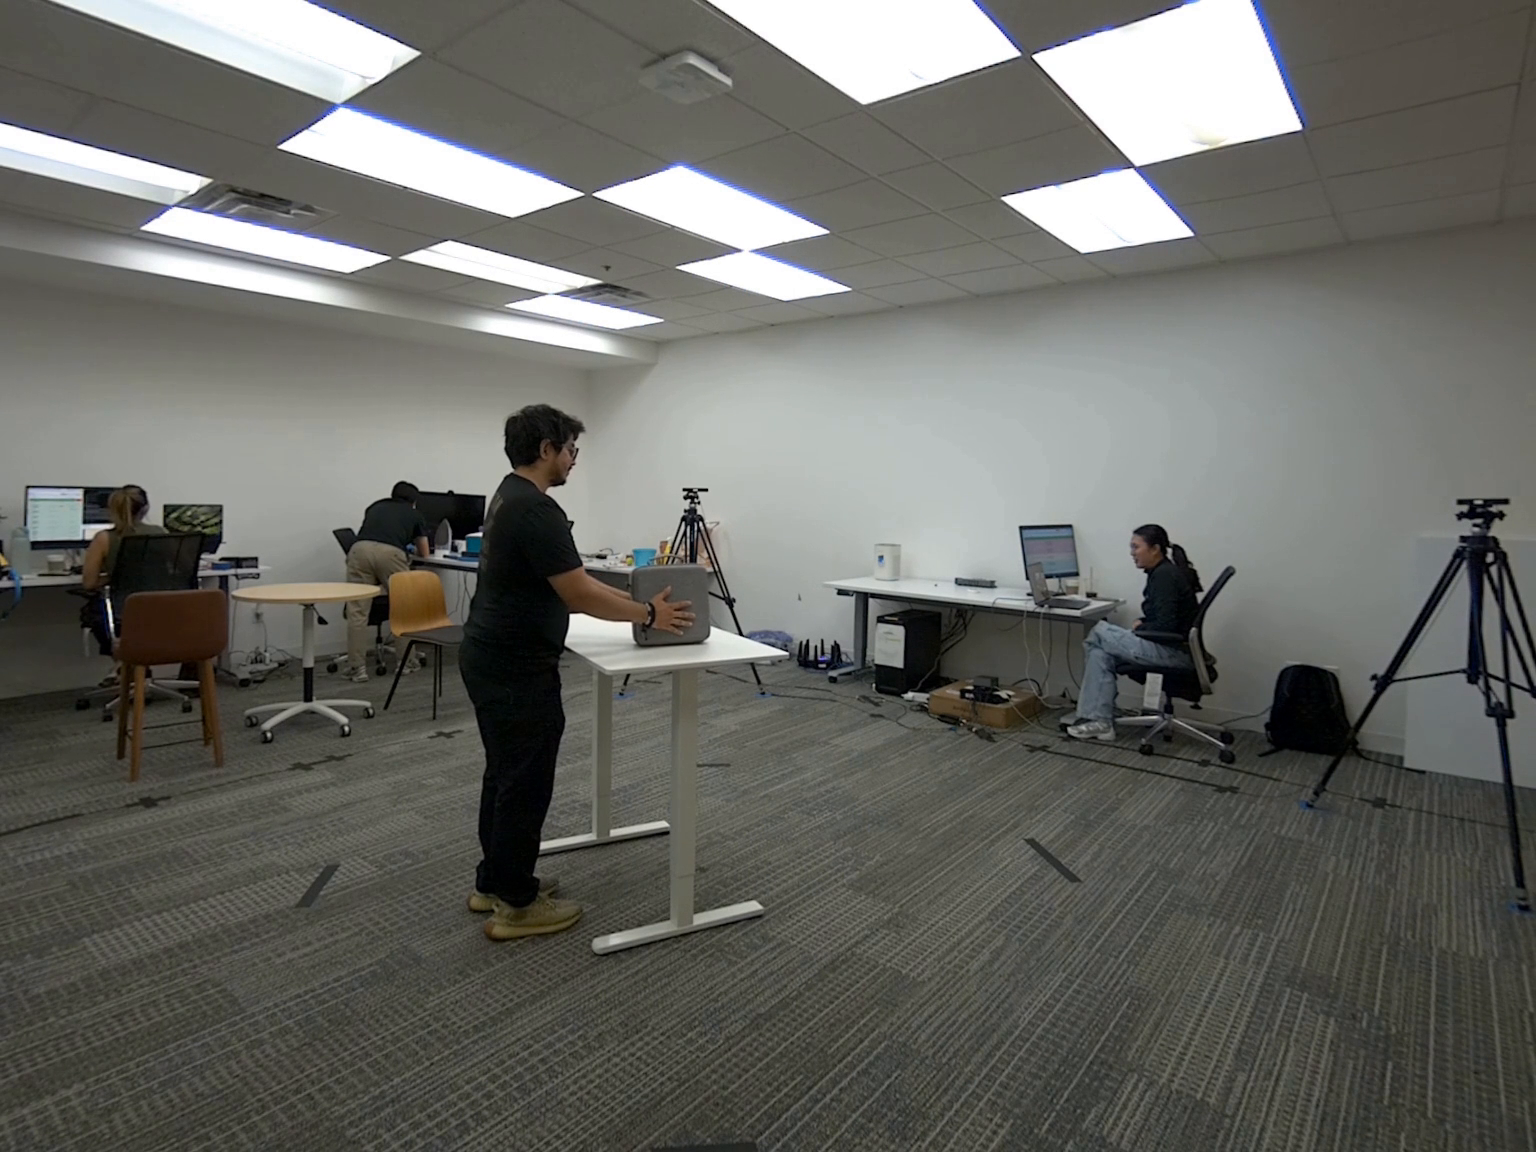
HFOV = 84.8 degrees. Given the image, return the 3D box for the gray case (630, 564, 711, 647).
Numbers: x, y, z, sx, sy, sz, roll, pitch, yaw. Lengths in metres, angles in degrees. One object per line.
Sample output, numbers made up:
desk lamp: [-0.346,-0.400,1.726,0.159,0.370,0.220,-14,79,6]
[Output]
gray case: [-0.334,0.090,2.778,0.253,0.261,0.105,-2,-3,-16]
